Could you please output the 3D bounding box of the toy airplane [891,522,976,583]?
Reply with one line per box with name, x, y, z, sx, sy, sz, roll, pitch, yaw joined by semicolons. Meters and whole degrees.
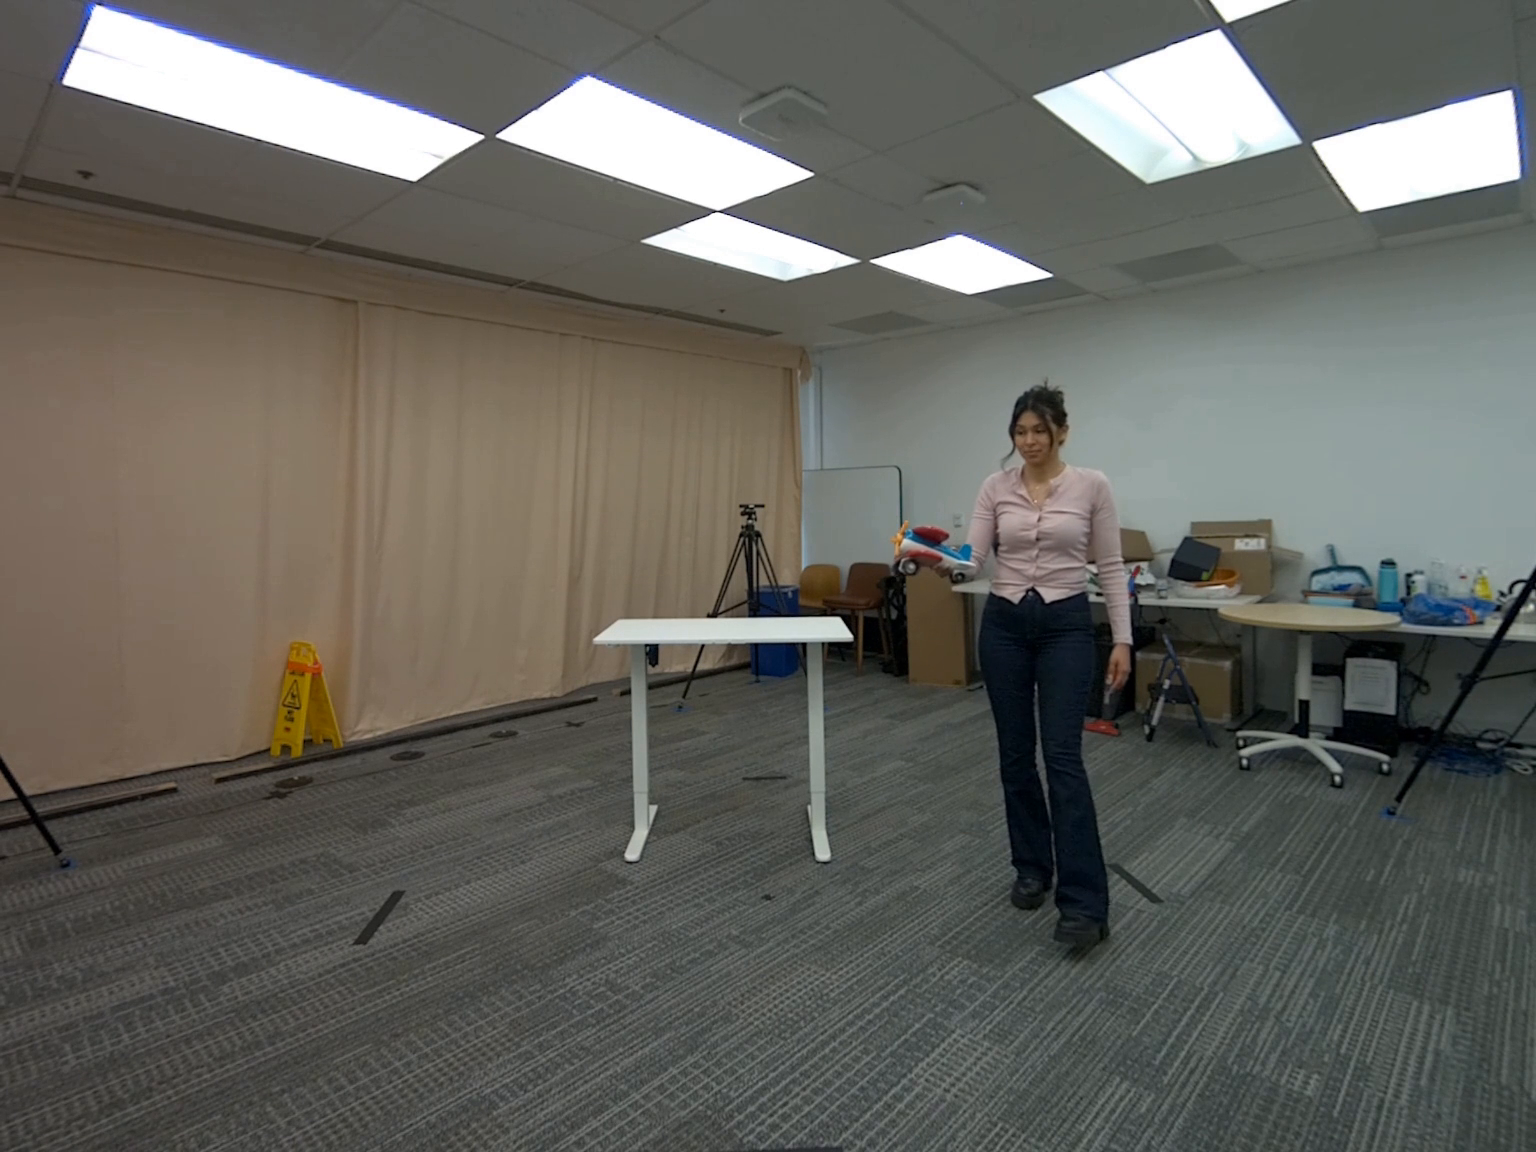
toy airplane;0.516;-0.062;2.680;0.250;0.157;0.259;12;-10;-39
